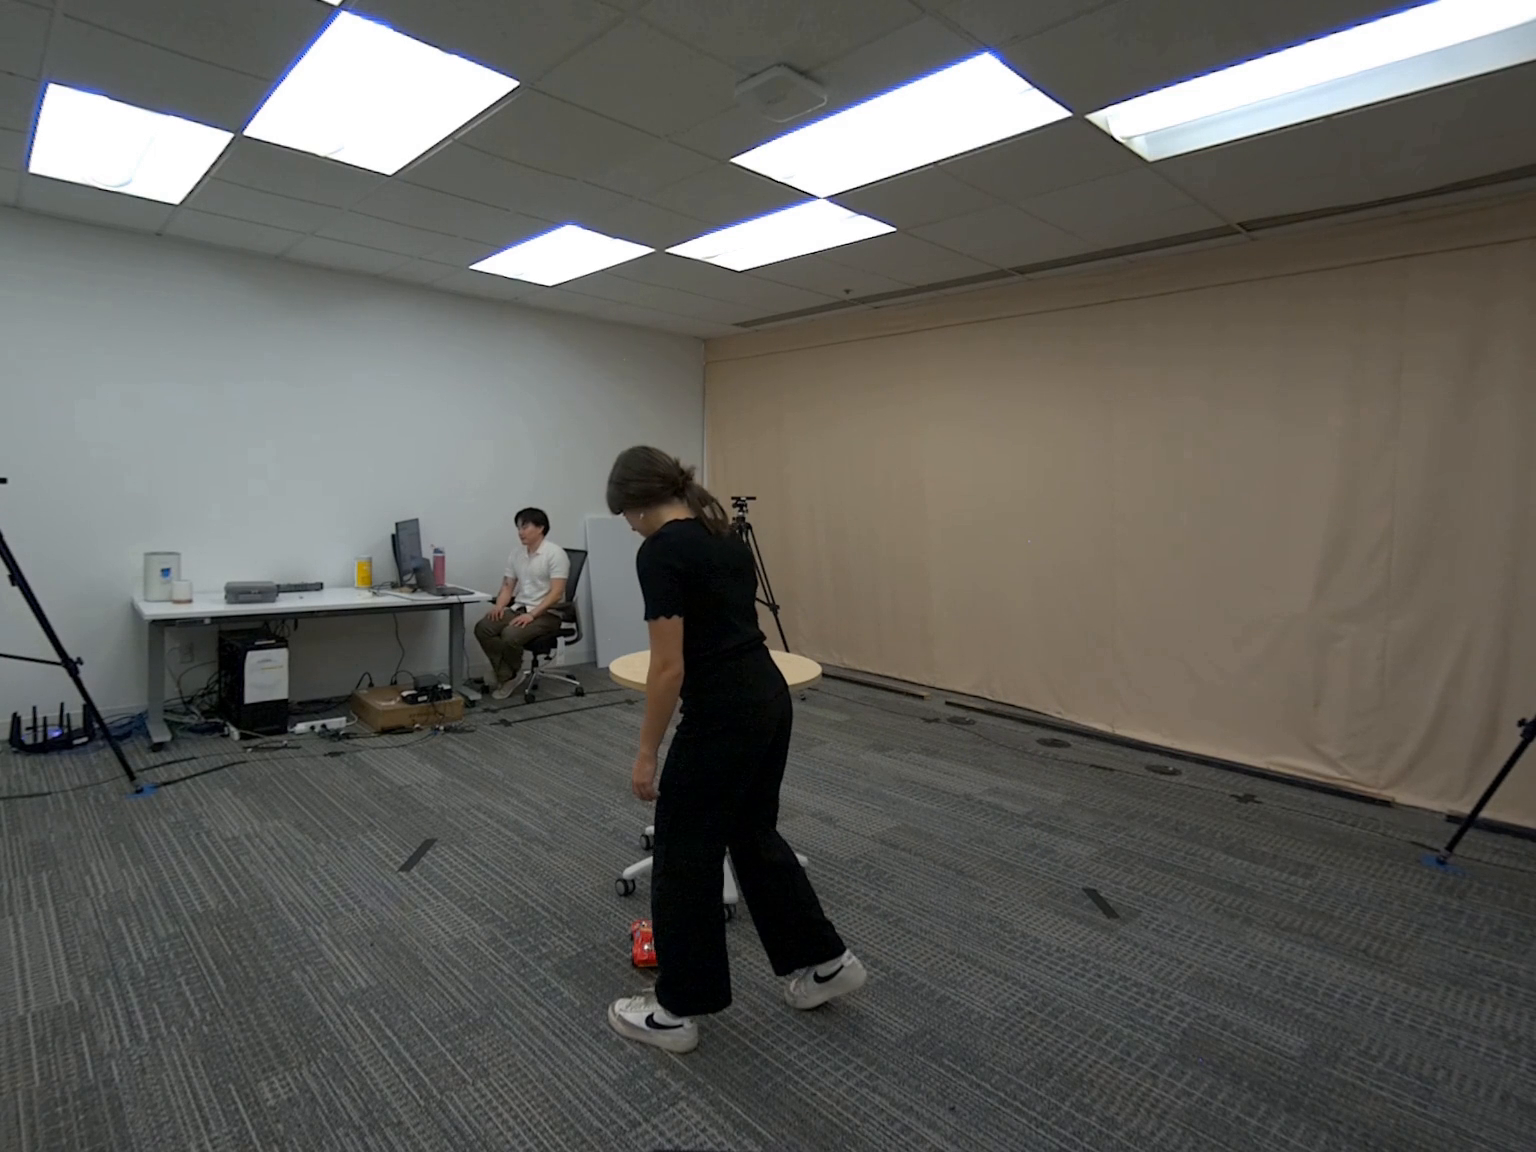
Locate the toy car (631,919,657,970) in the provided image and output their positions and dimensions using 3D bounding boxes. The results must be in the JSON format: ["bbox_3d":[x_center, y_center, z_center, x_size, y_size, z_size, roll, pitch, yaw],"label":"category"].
[{"bbox_3d":[-0.364,1.120,2.553,0.129,0.084,0.255,-1,-6,-10],"label":"toy car"}]
